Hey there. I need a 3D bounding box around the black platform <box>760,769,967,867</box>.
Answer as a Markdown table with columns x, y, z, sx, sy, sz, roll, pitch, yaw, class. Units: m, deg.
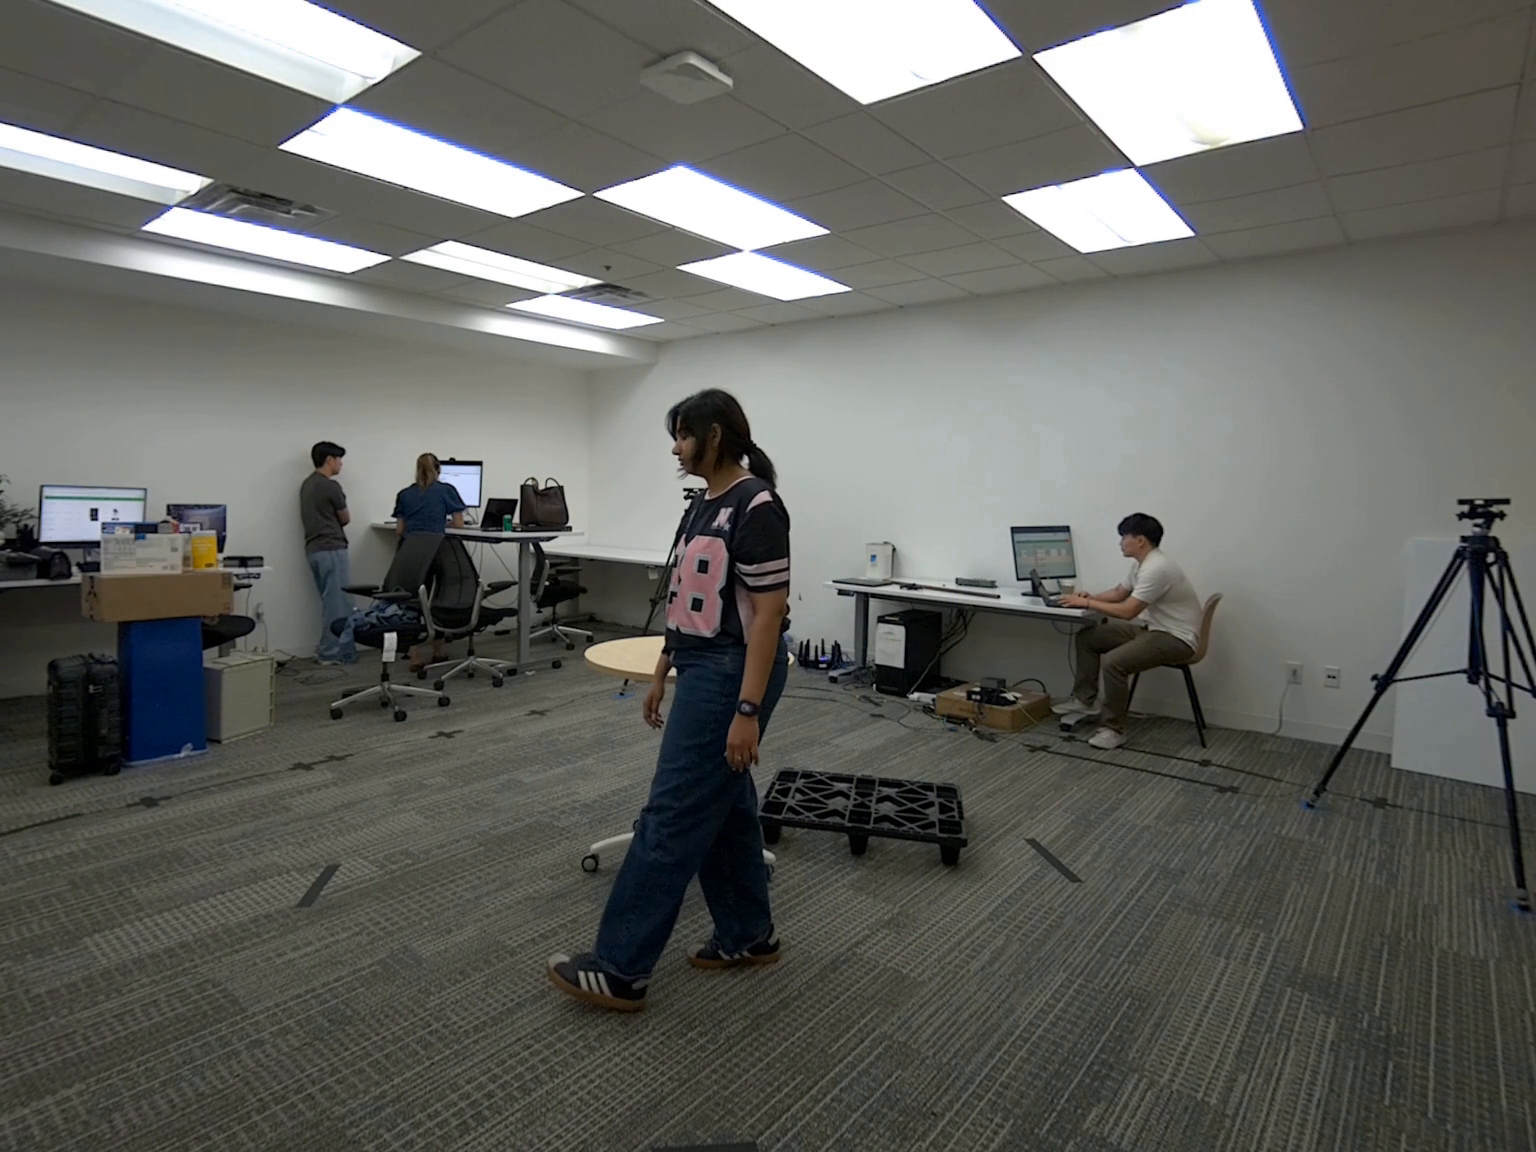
| x | y | z | sx | sy | sz | roll | pitch | yaw | class |
| --- | --- | --- | --- | --- | --- | --- | --- | --- | --- |
| 0.382 | 0.976 | 3.486 | 0.817 | 0.143 | 0.599 | 2 | 6 | 12 | black platform |
